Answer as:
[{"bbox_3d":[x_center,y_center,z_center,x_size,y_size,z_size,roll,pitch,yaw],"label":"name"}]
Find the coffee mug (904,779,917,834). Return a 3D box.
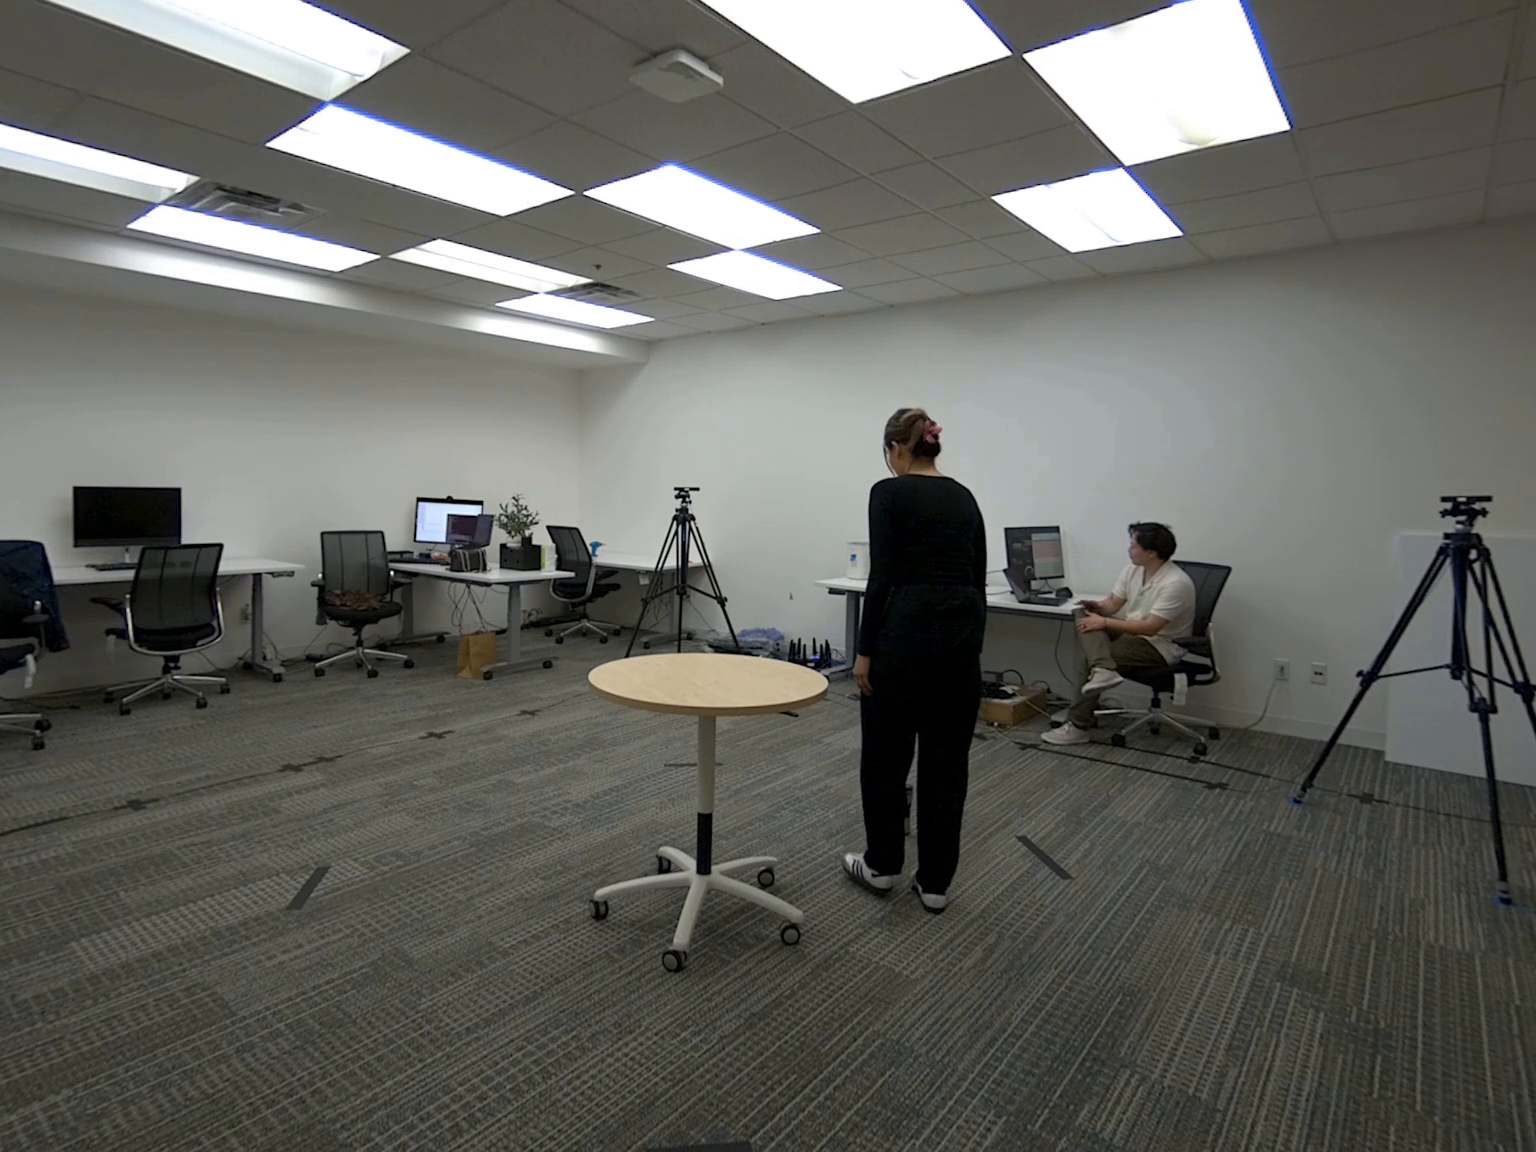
[{"bbox_3d":[0.528,0.942,3.450,0.091,0.202,0.118,11,3,40],"label":"coffee mug"}]
